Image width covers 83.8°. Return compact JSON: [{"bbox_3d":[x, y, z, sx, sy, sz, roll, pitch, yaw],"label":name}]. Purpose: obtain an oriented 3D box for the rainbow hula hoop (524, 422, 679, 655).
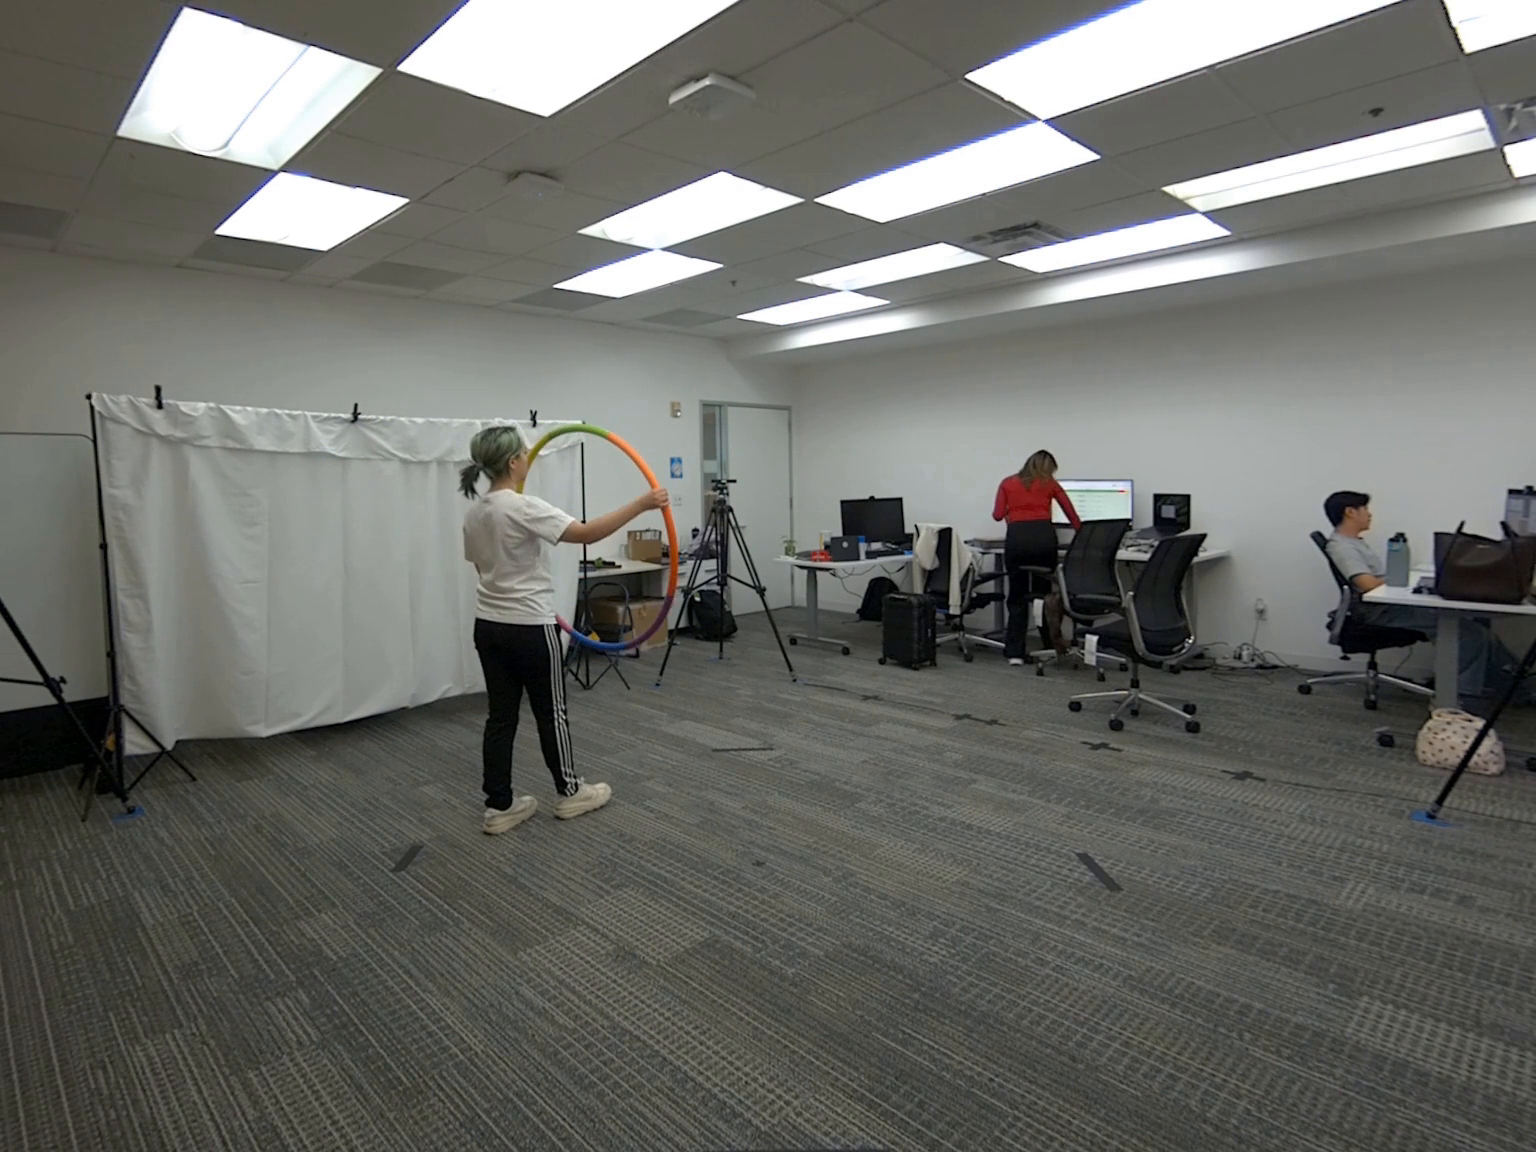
[{"bbox_3d":[-0.752,-0.151,3.617,1.008,0.969,0.035,3,13,39],"label":"rainbow hula hoop"}]
